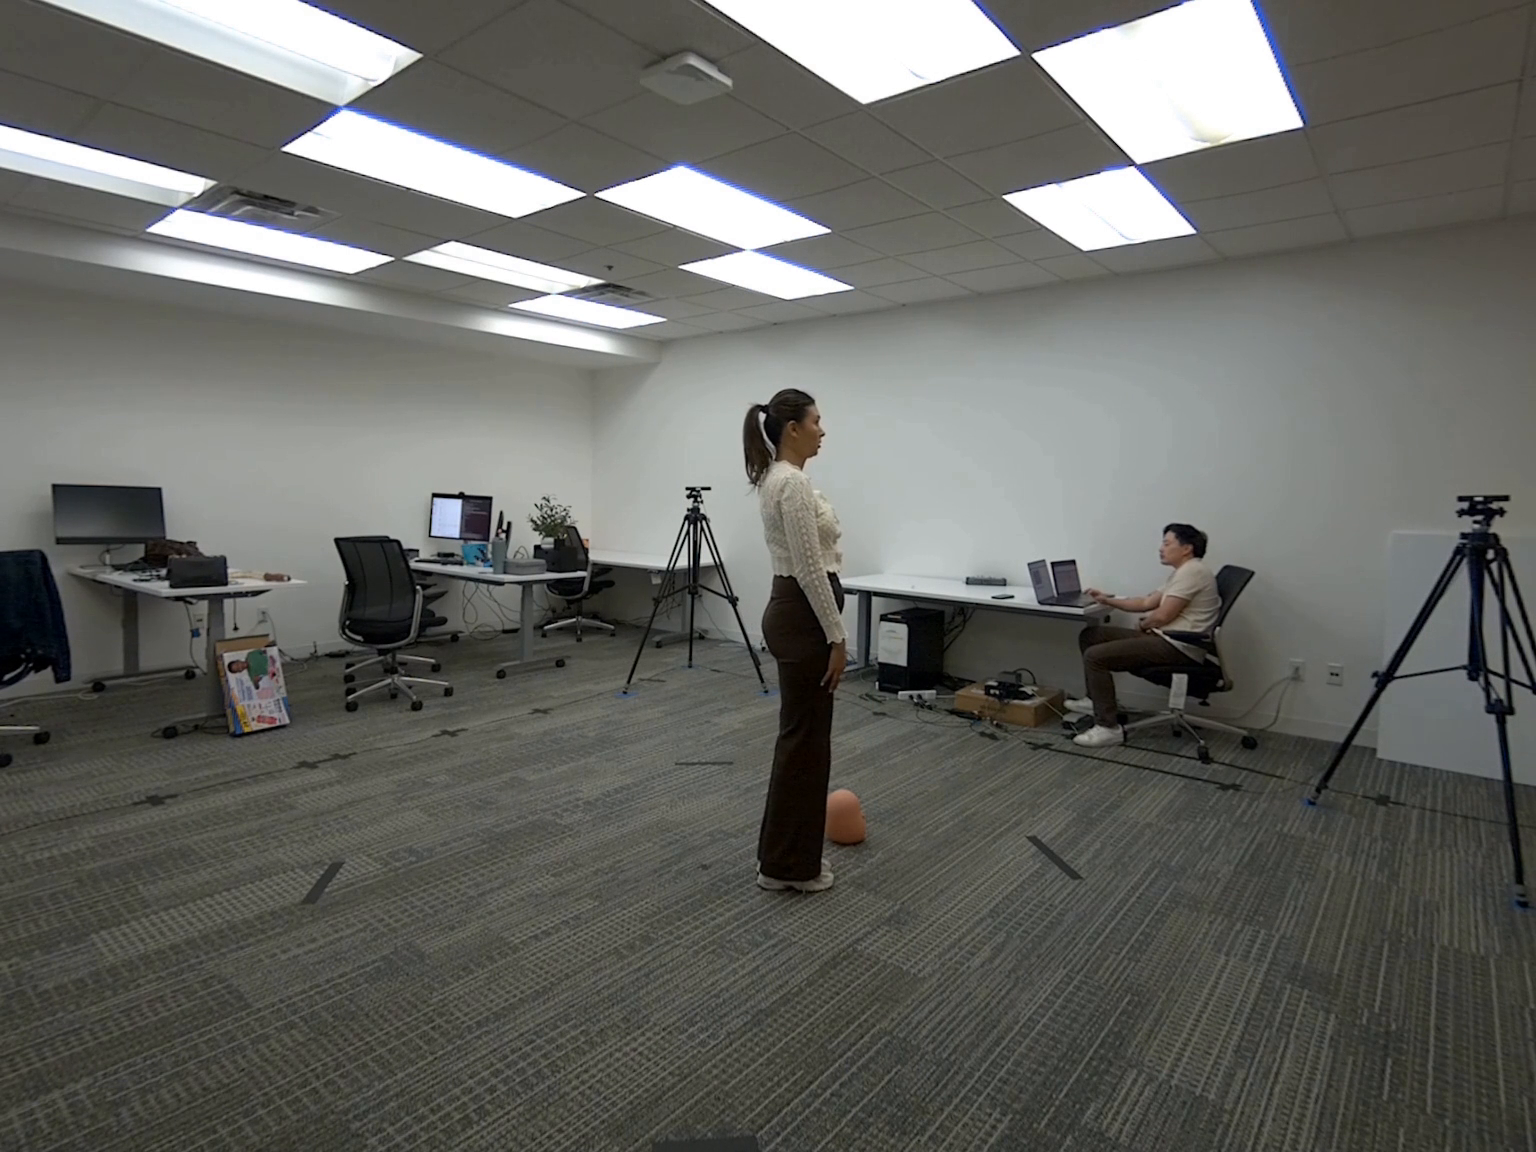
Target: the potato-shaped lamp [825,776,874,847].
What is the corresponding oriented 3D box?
[{"bbox_3d":[0.299,0.942,3.384,0.167,0.197,0.170,-2,7,-27],"label":"potato-shaped lamp"}]
